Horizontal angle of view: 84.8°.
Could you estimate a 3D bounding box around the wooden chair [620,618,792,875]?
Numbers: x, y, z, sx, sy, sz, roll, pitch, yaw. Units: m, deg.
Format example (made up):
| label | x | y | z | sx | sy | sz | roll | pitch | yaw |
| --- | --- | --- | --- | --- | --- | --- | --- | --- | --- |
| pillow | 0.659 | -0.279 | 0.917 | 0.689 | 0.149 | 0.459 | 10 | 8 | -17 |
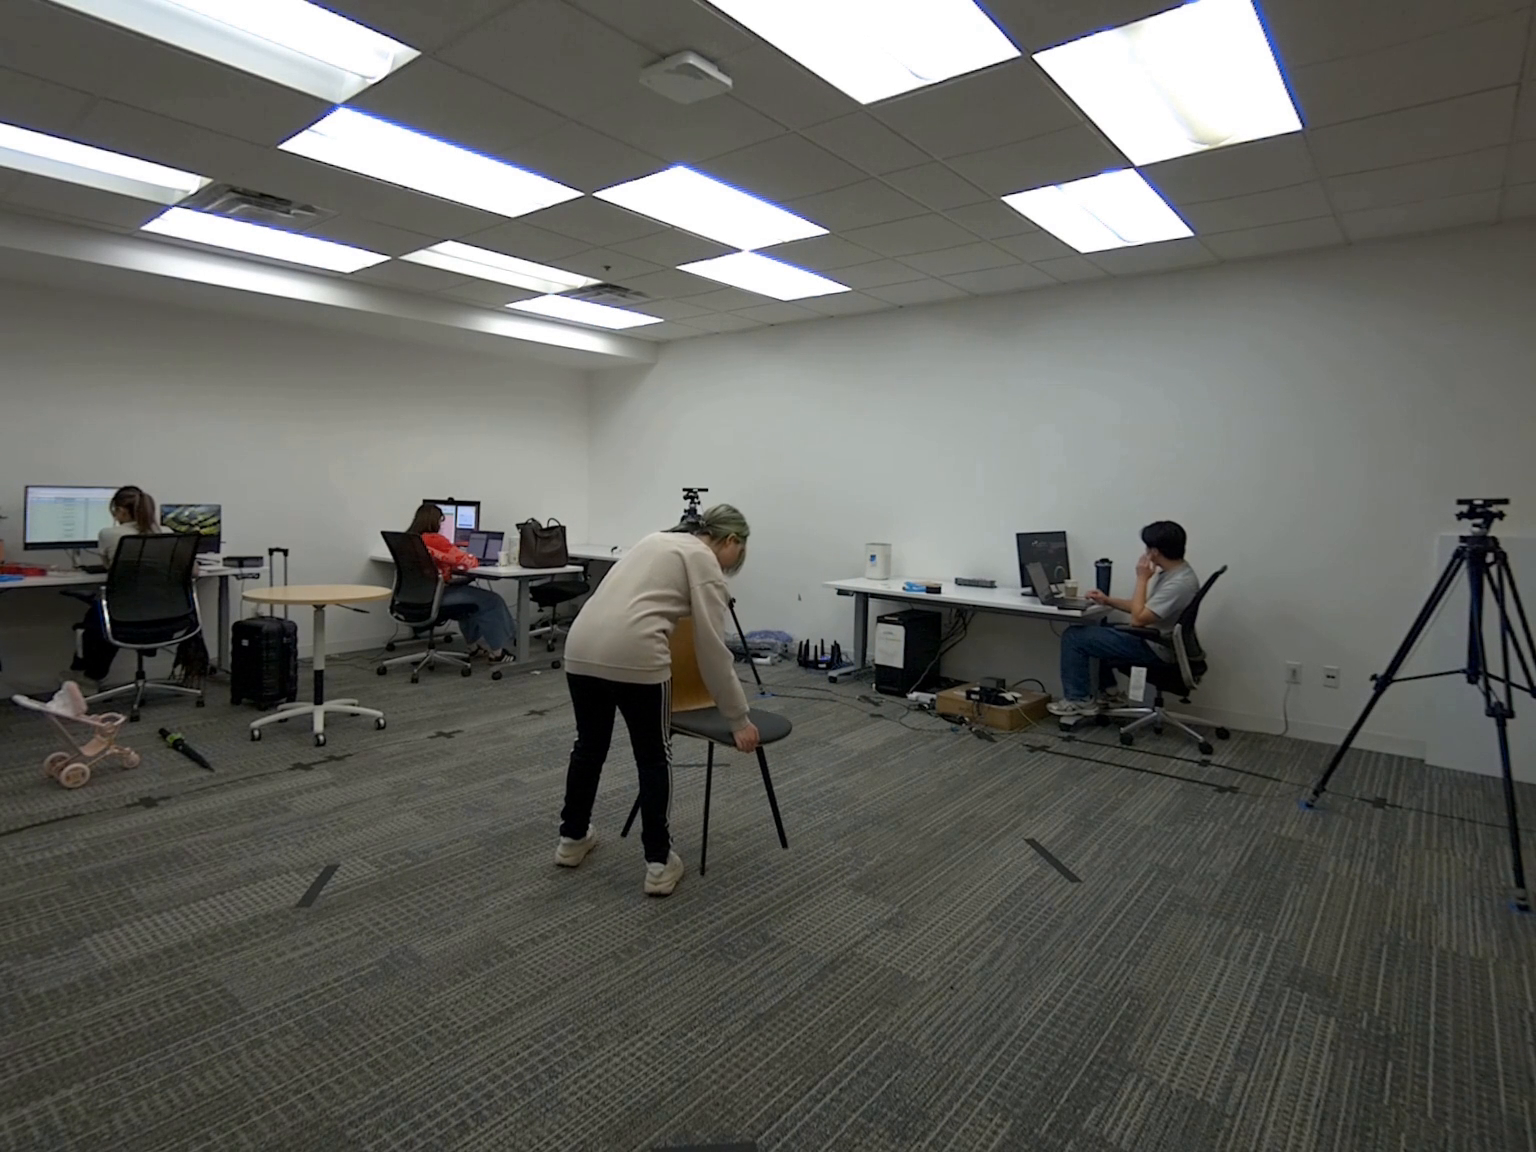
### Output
| label | x | y | z | sx | sy | sz | roll | pitch | yaw |
| --- | --- | --- | --- | --- | --- | --- | --- | --- | --- |
| wooden chair | -0.210 | 0.592 | 3.224 | 0.539 | 0.879 | 0.462 | -1 | -2 | 44 |
